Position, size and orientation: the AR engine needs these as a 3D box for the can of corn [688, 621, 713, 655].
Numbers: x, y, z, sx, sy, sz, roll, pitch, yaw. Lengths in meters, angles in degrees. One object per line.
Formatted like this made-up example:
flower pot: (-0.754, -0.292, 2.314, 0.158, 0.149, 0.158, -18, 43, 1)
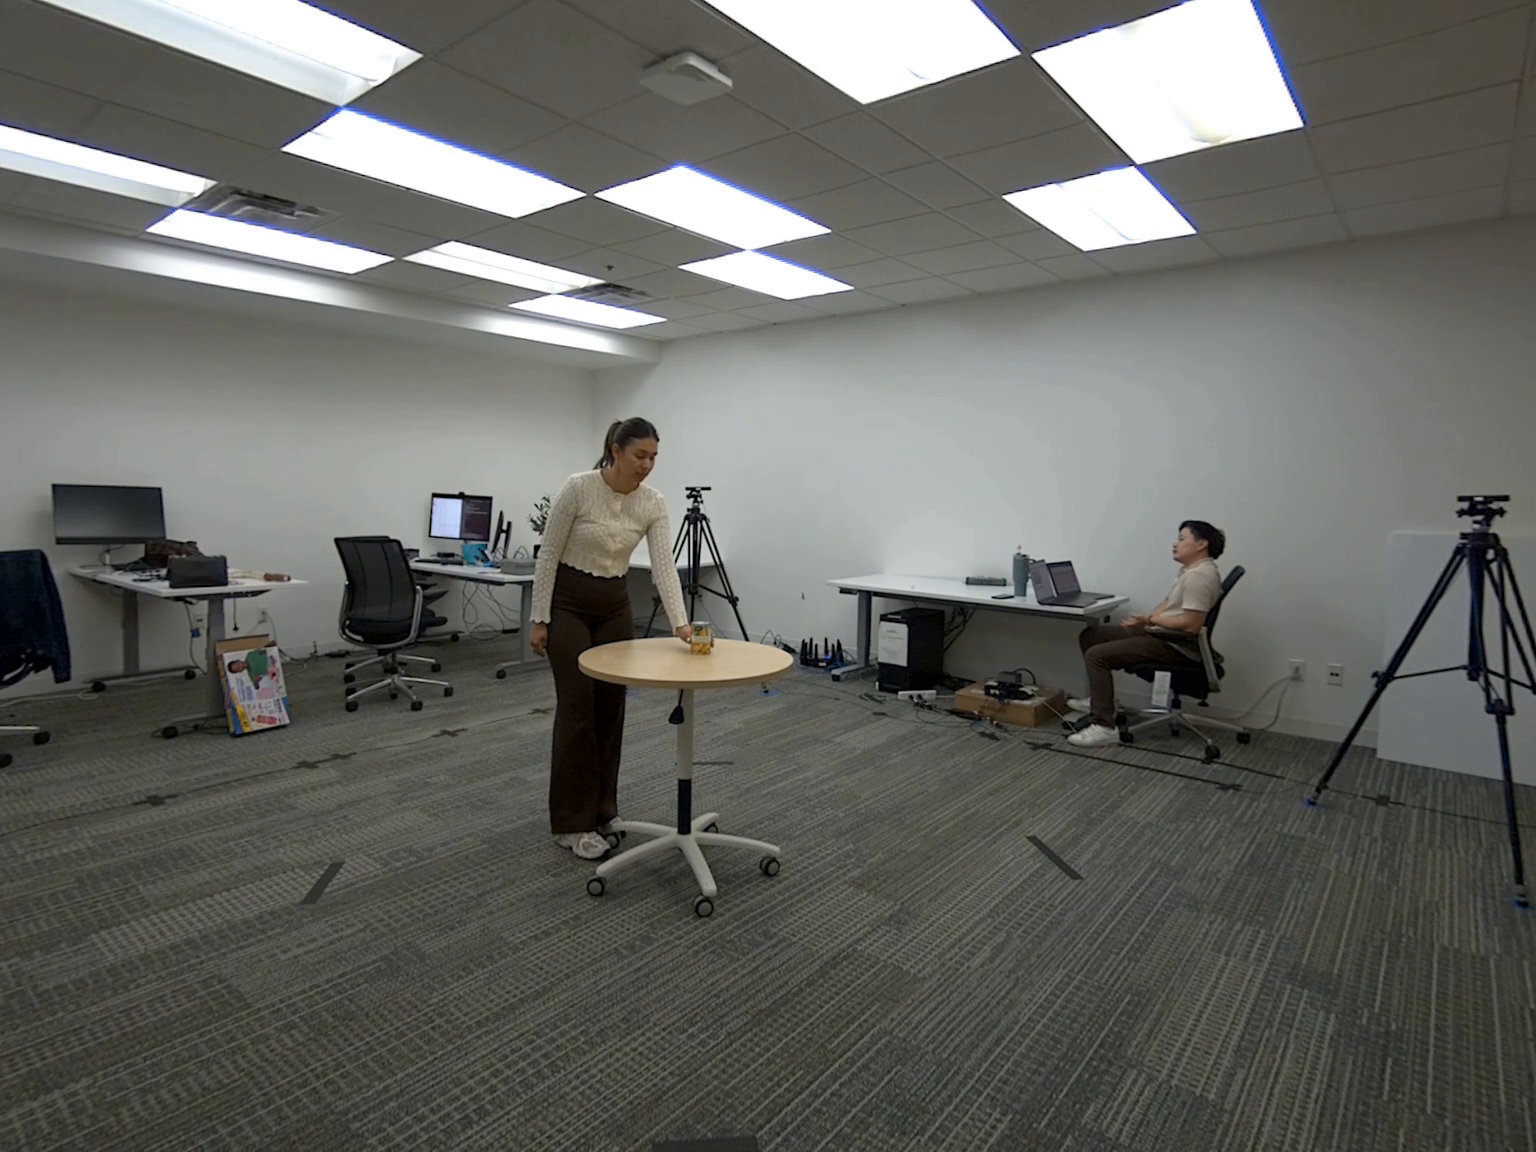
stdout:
can of corn: (-0.255, 0.224, 3.110, 0.074, 0.111, 0.074, 1, 2, -2)
